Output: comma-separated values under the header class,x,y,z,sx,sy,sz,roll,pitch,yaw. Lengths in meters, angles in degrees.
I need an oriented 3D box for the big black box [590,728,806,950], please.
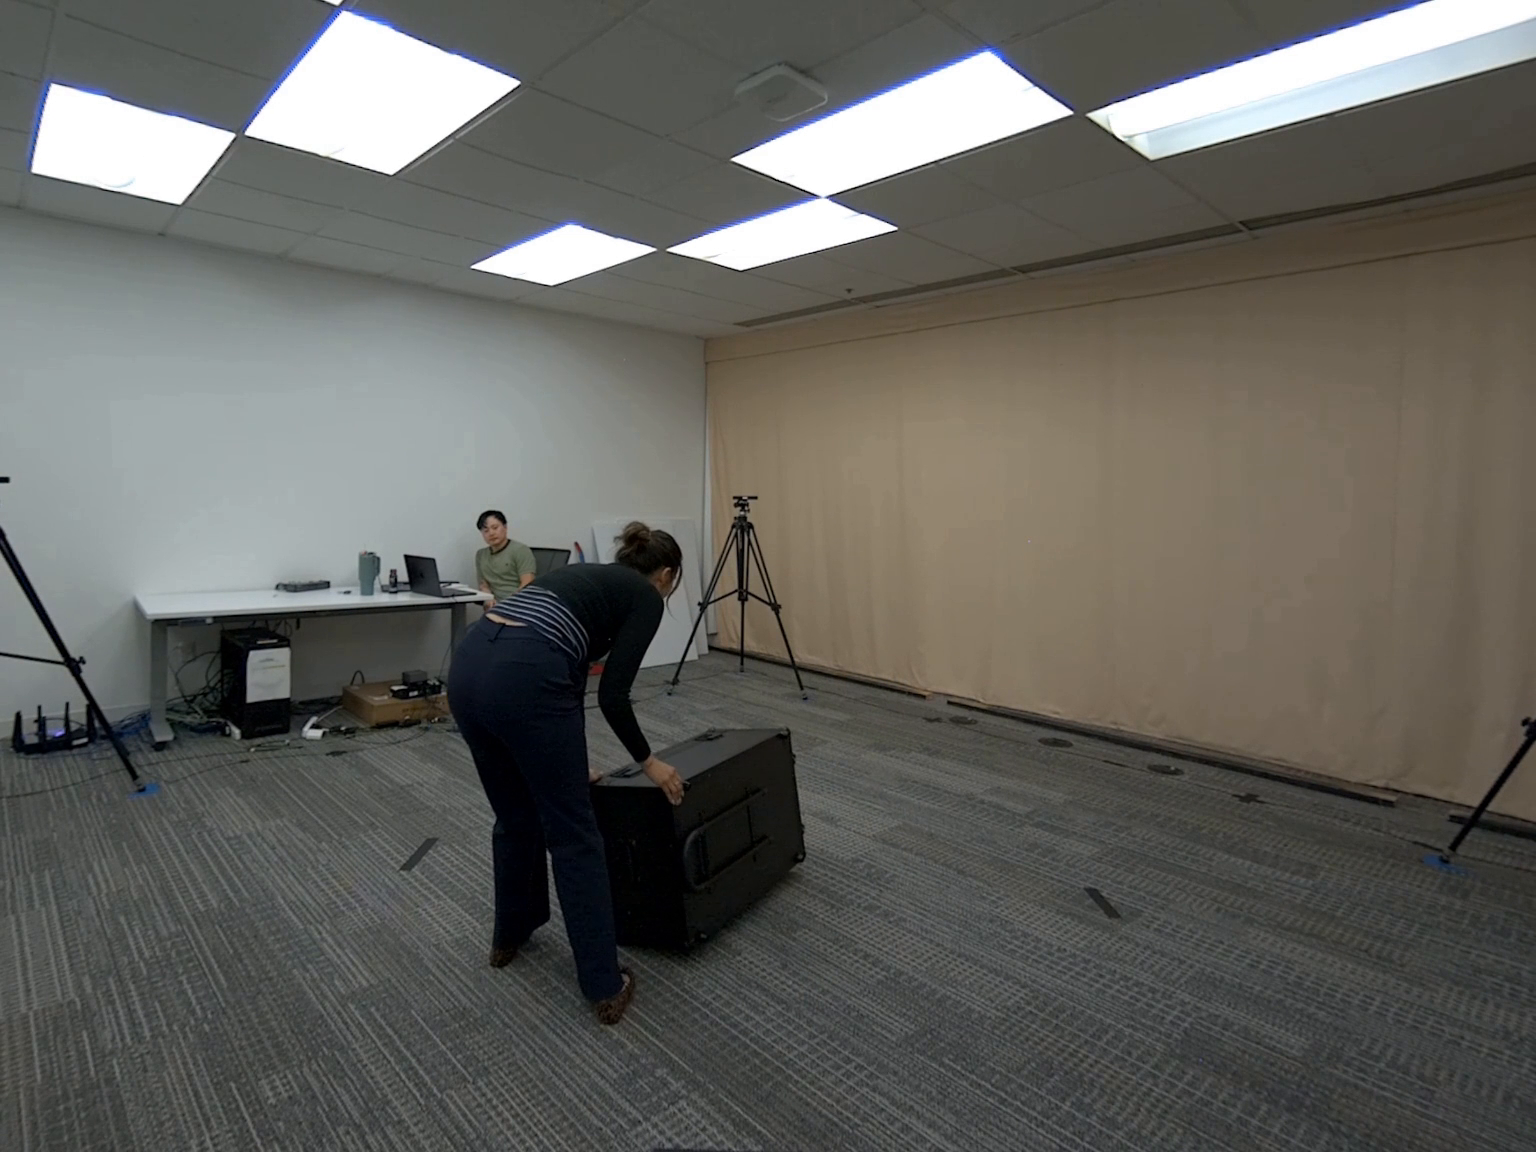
class,x,y,z,sx,sy,sz,roll,pitch,yaw
big black box,-0.206,0.843,2.909,0.403,0.522,0.846,-8,0,29
